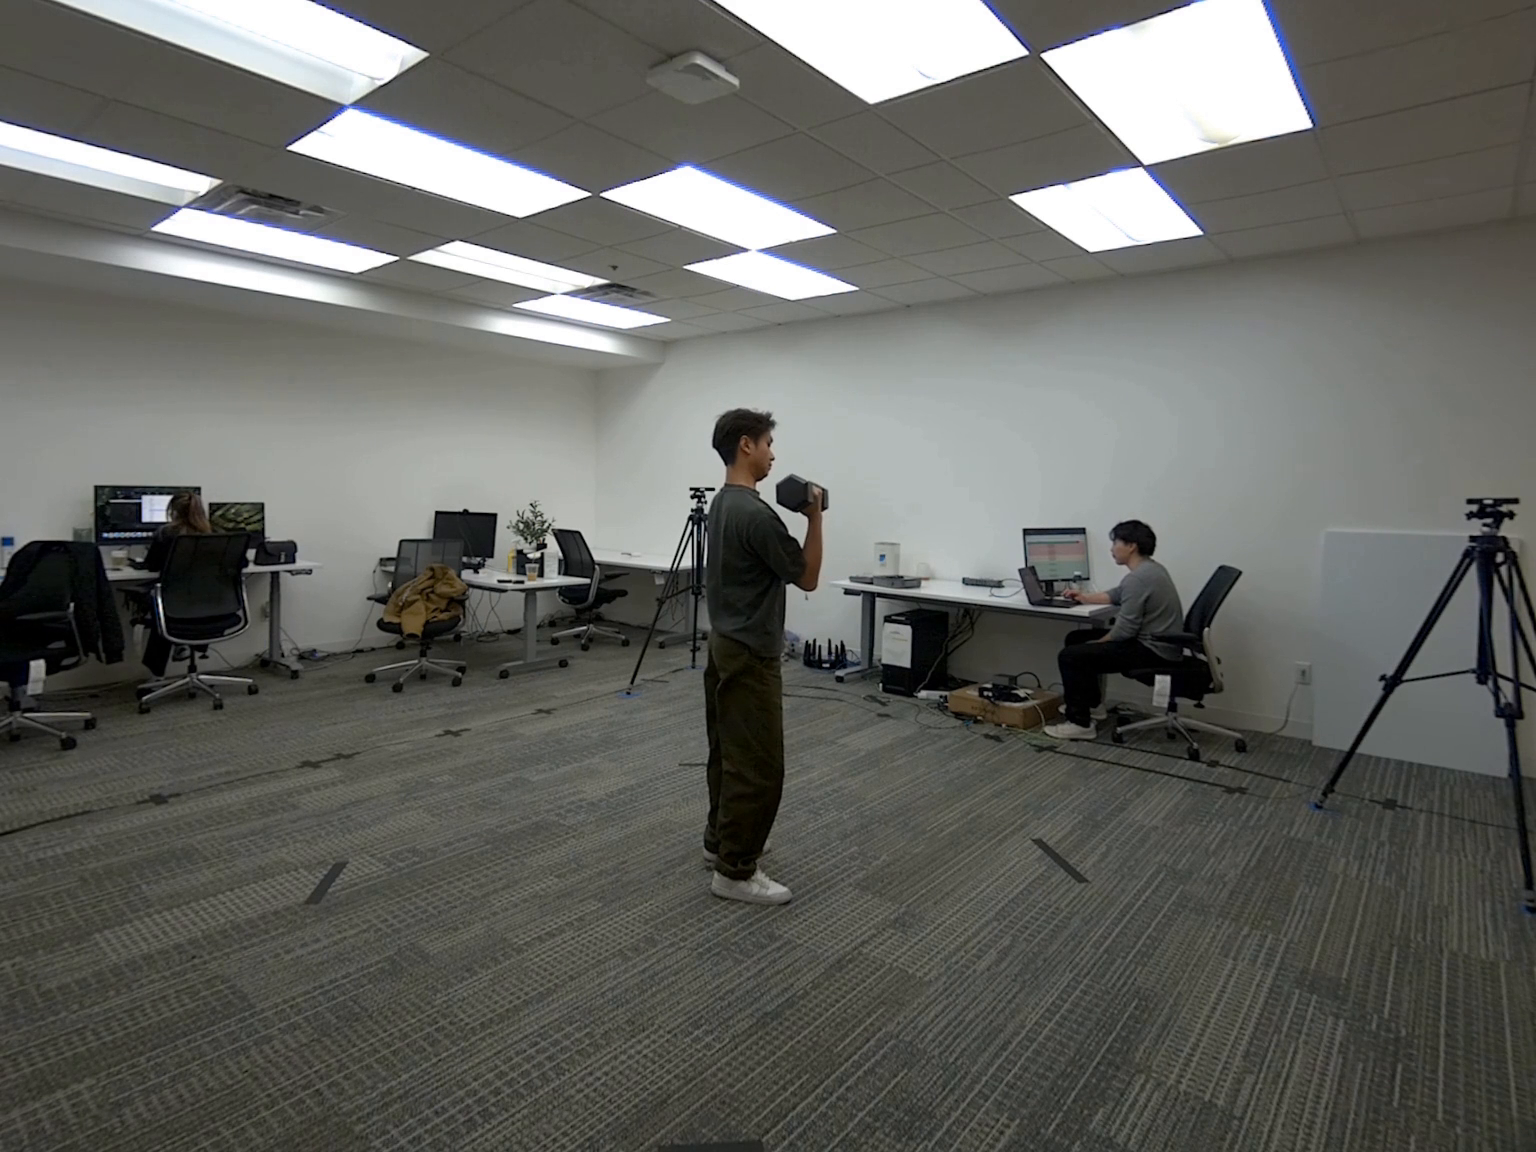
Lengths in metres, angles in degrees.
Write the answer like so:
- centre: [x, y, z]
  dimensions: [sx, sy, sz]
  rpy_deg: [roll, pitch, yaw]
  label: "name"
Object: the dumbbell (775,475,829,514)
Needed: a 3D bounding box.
- centre: [0.114, -0.269, 2.820]
  dimensions: [0.126, 0.108, 0.287]
  rpy_deg: [28, 8, 16]
  label: "dumbbell"
